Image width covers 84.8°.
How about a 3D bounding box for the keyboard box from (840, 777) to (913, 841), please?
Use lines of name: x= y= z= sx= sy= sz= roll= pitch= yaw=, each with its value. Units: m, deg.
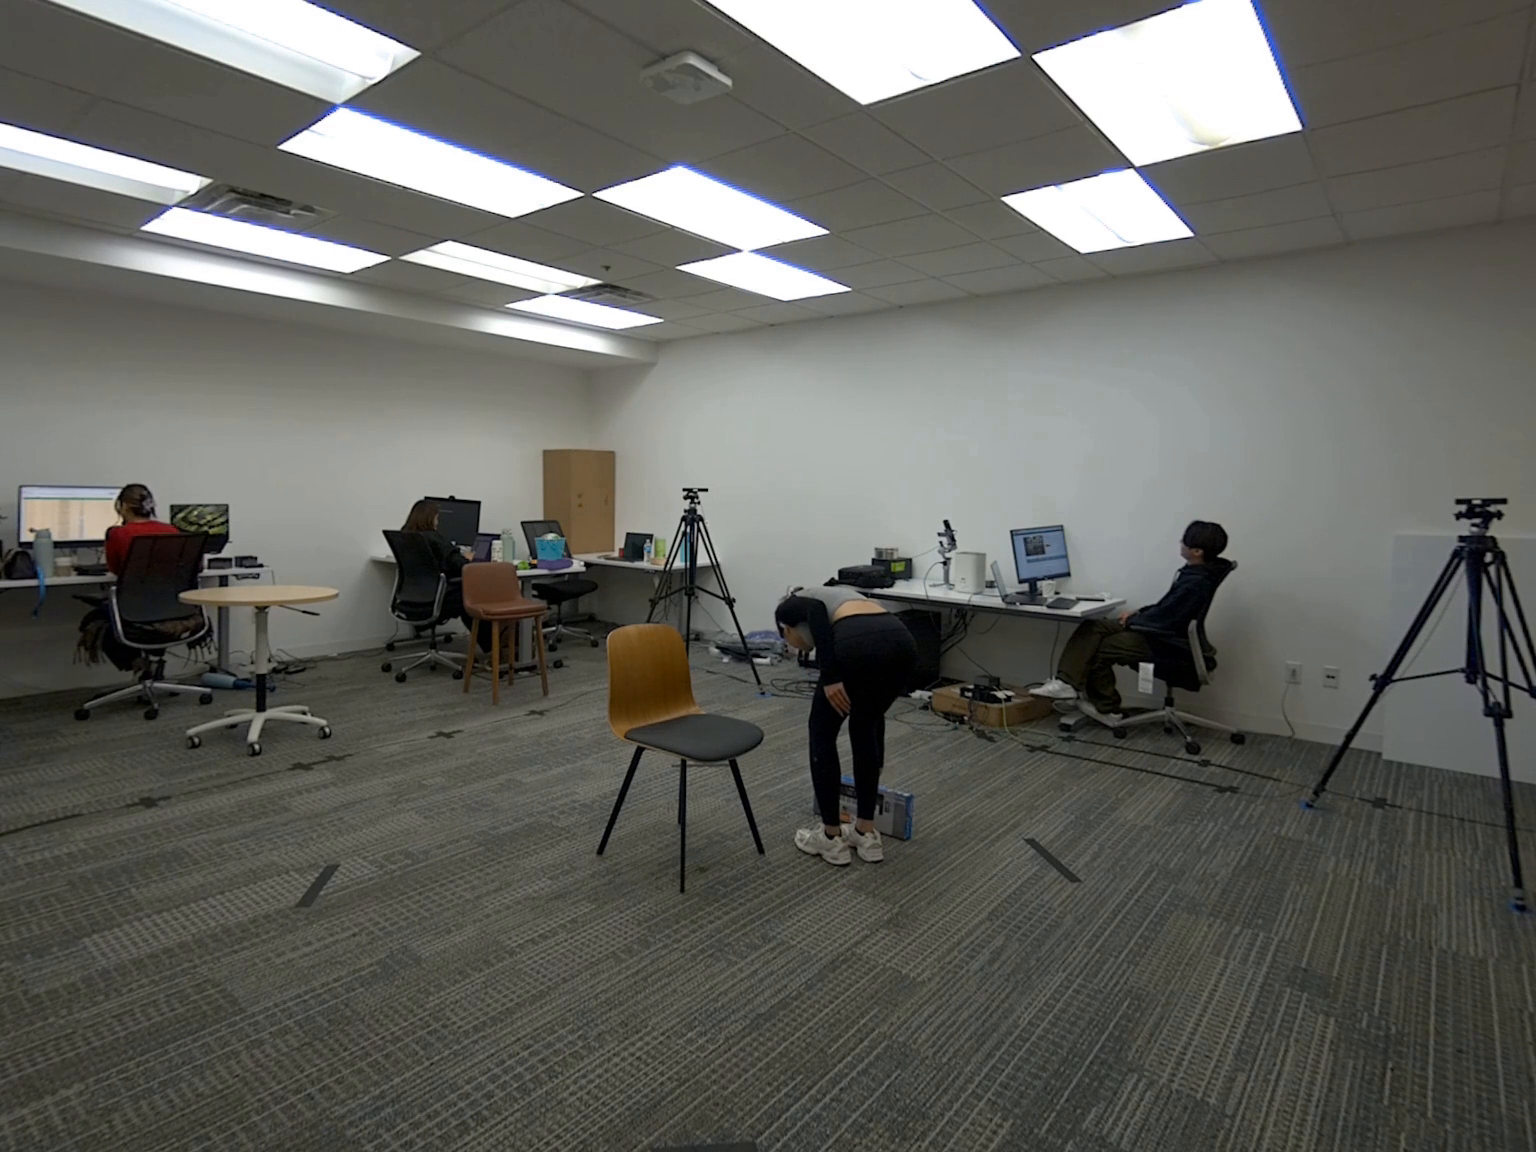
keyboard box: x=0.384 y=0.952 z=3.560 sx=0.451 sy=0.176 sz=0.057 roll=6 pitch=1 yaw=37
